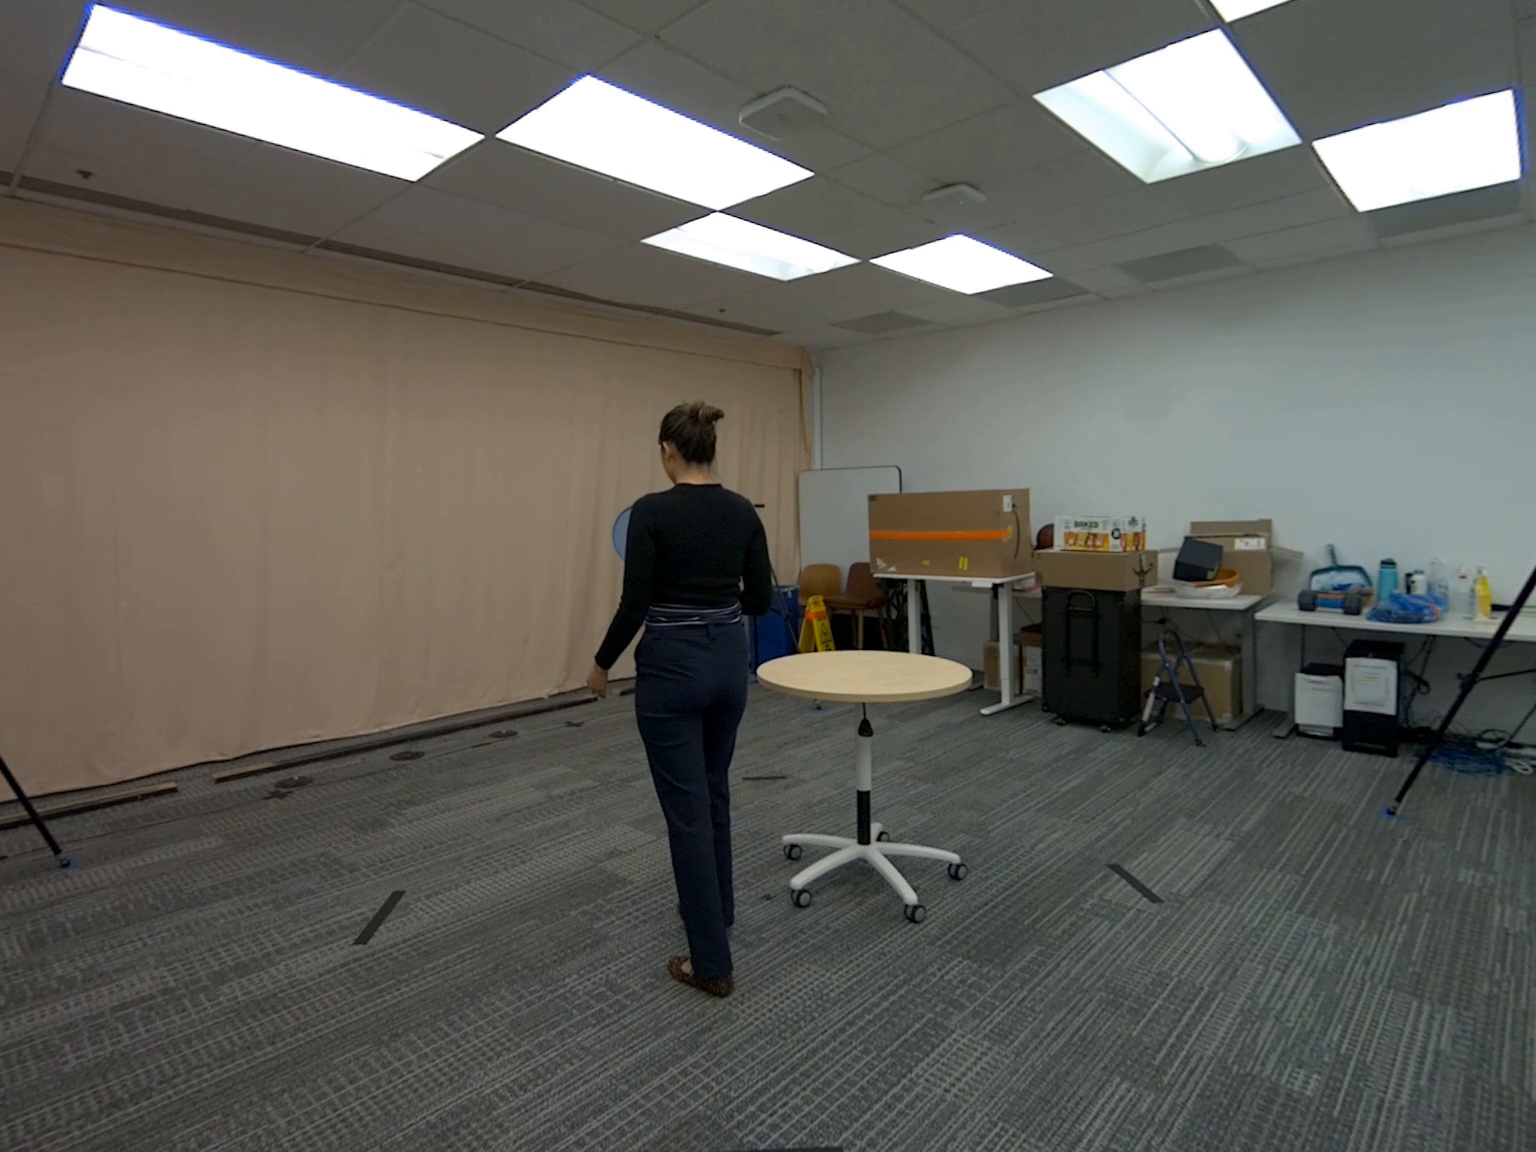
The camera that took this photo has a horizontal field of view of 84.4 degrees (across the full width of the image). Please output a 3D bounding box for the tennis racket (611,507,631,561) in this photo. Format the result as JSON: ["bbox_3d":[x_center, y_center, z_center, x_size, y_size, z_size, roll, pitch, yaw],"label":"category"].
[{"bbox_3d":[-0.381,-0.075,2.856,0.214,0.445,0.031,-36,-26,3],"label":"tennis racket"}]
